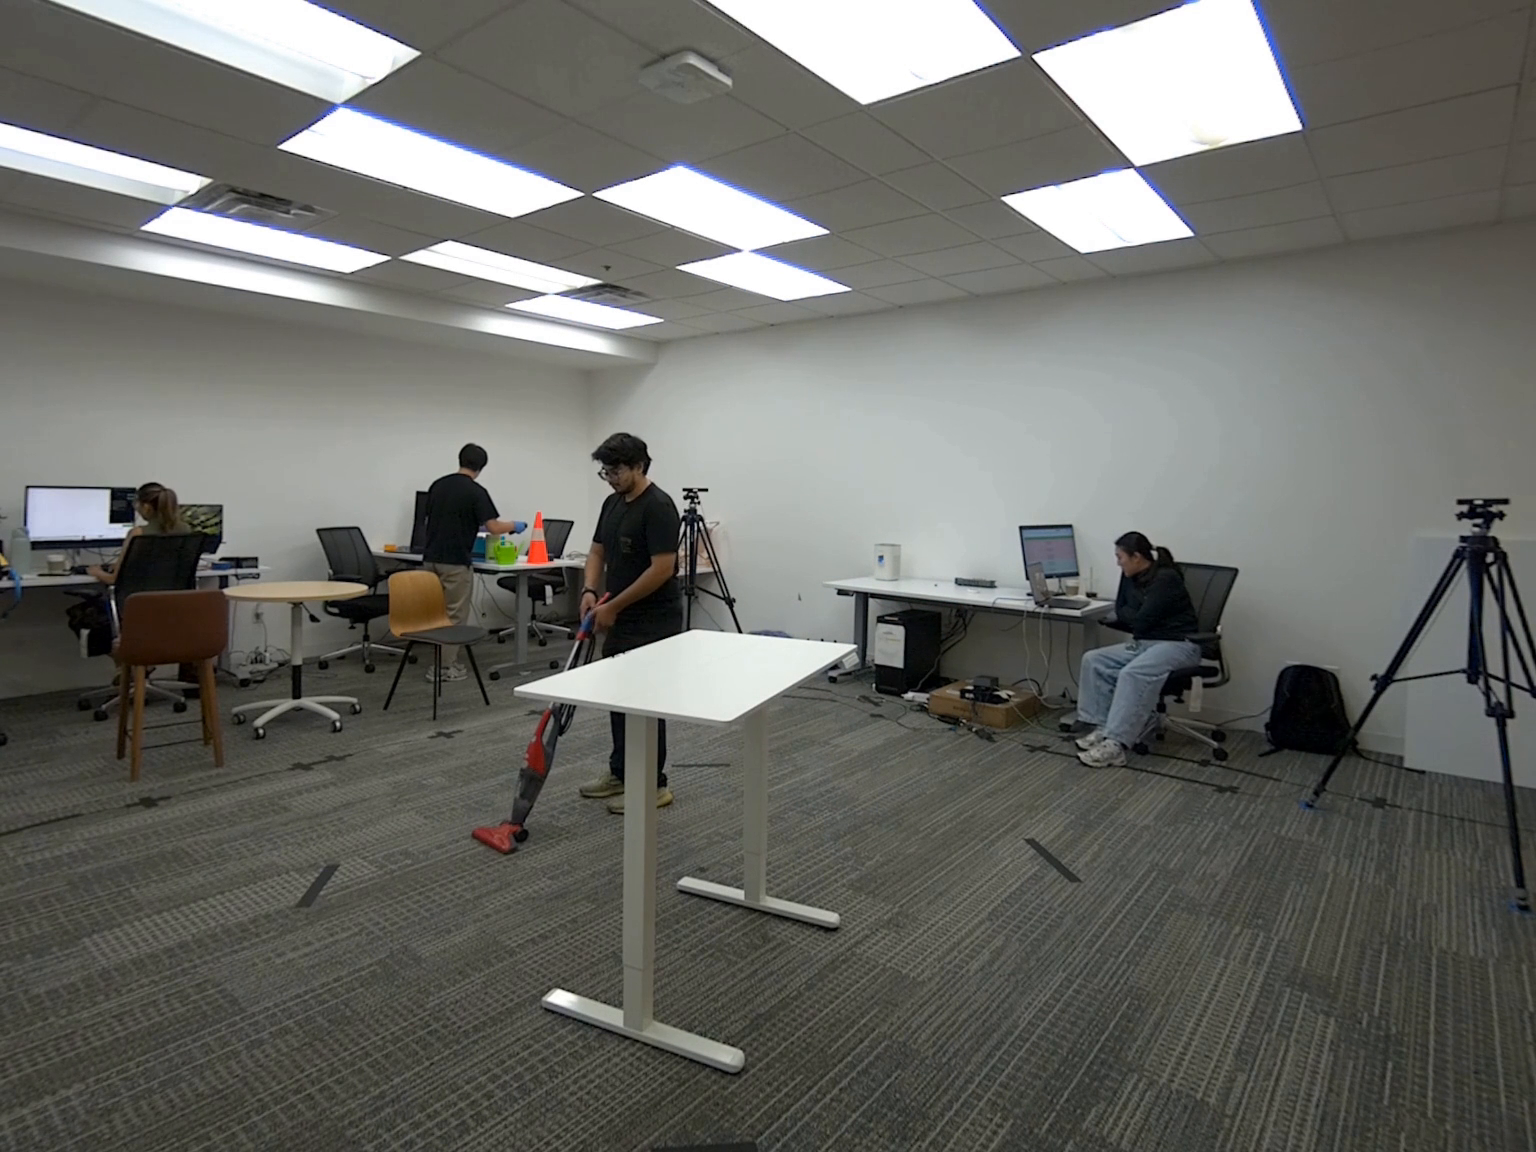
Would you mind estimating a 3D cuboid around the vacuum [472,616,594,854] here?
[{"bbox_3d":[-0.882,0.565,3.491,0.261,1.060,0.138,5,-23,36],"label":"vacuum"}]
